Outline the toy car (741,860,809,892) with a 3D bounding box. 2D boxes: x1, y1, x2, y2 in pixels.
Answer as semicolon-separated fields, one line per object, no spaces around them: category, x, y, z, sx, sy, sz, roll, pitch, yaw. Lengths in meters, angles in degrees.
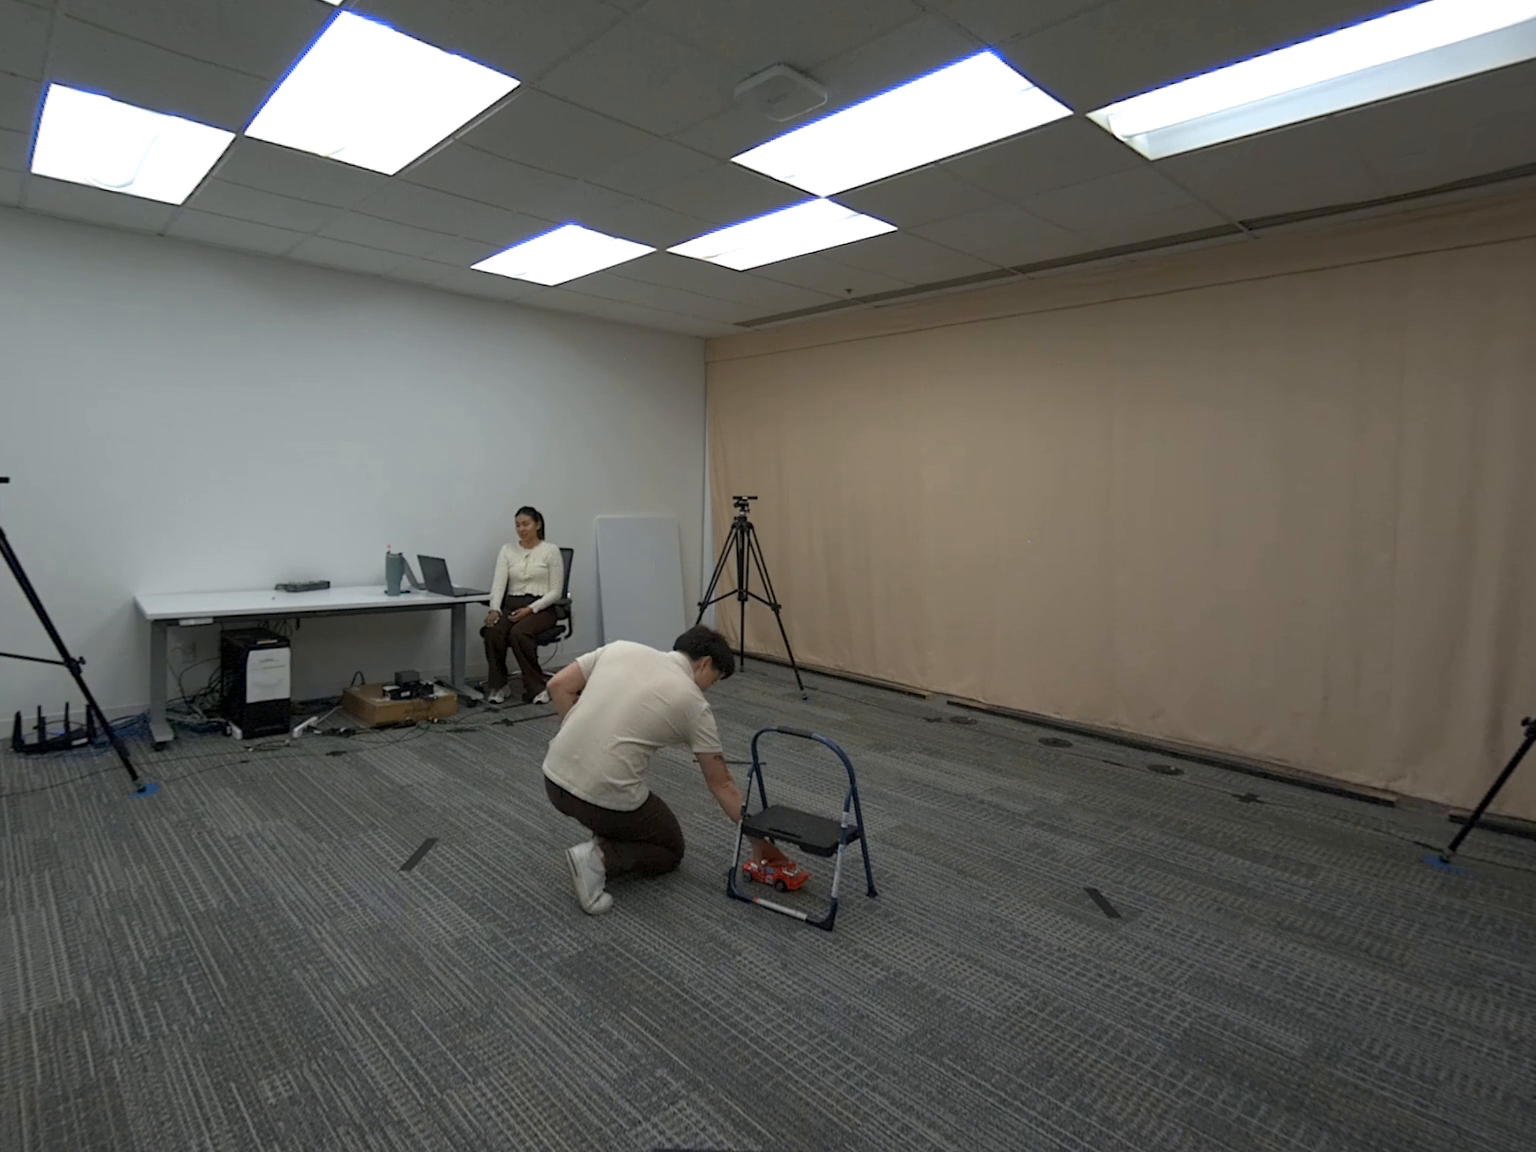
toy car;0.011;1.079;3.046;0.259;0.083;0.127;-9;-2;36
